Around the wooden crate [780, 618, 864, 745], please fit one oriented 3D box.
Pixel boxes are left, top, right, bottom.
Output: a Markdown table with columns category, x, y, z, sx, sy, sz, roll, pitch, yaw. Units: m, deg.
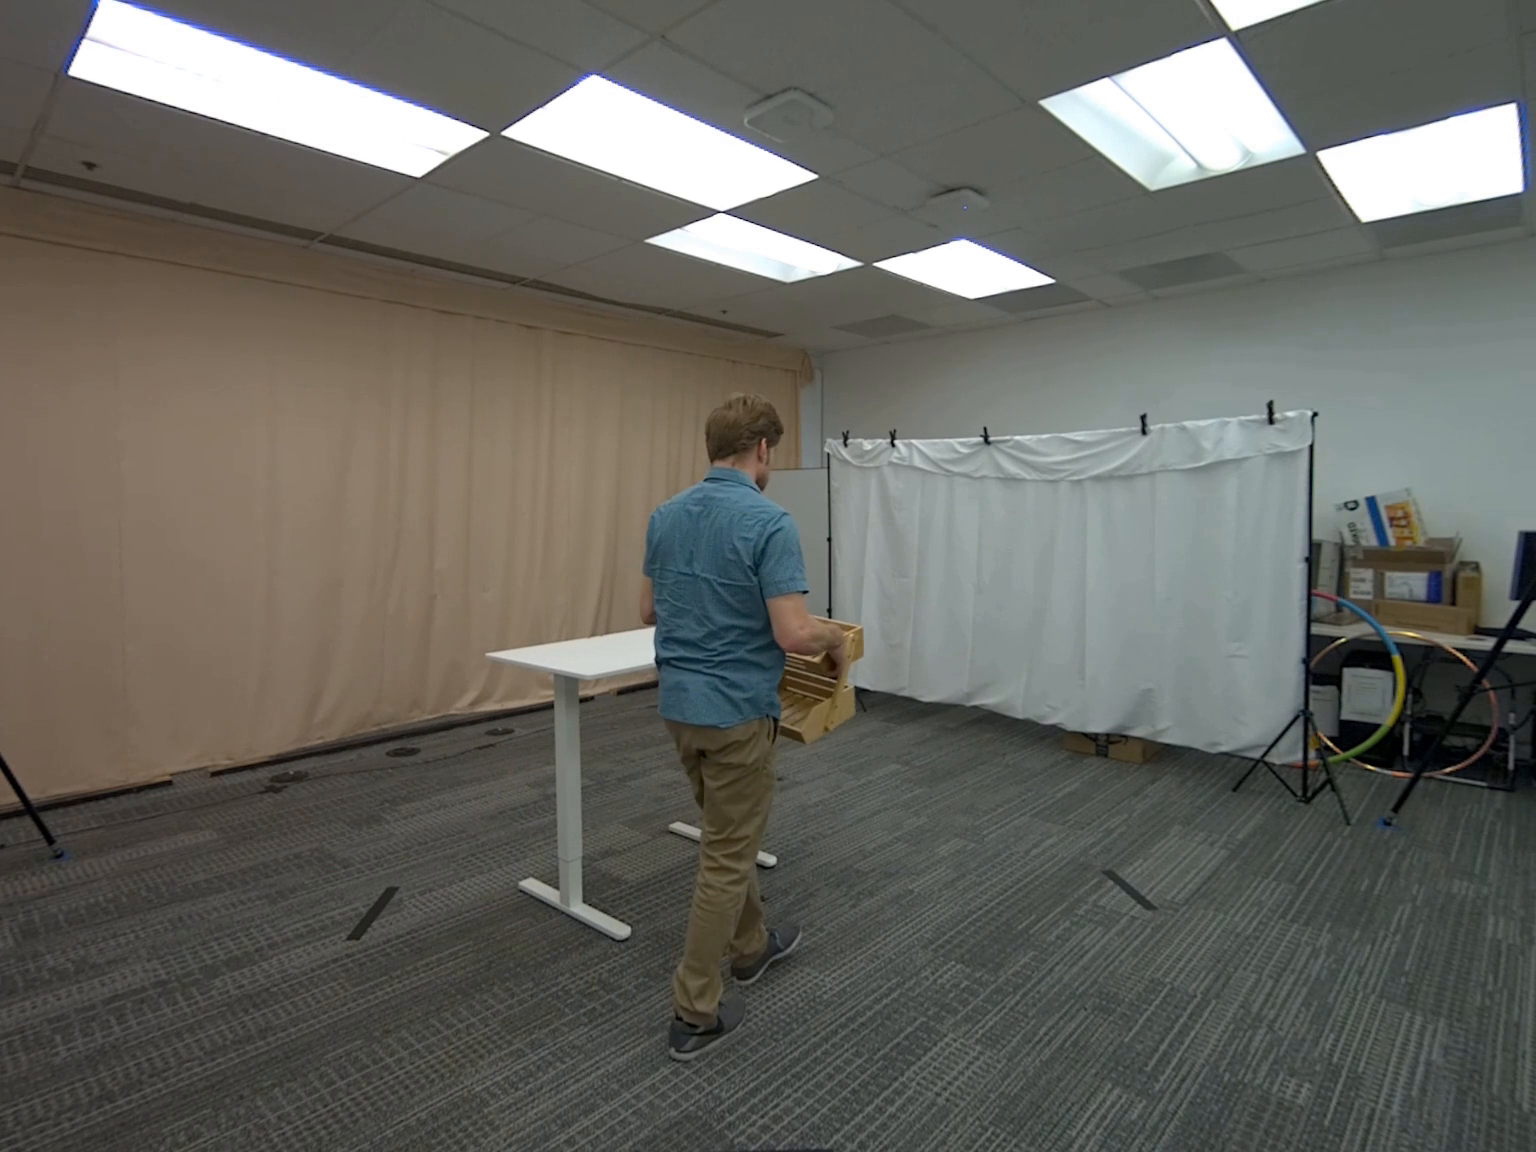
| category | x | y | z | sx | sy | sz | roll | pitch | yaw |
| --- | --- | --- | --- | --- | --- | --- | --- | --- | --- |
| wooden crate | 0.072 | 0.282 | 2.474 | 0.336 | 0.271 | 0.294 | 10 | 19 | 42 |
